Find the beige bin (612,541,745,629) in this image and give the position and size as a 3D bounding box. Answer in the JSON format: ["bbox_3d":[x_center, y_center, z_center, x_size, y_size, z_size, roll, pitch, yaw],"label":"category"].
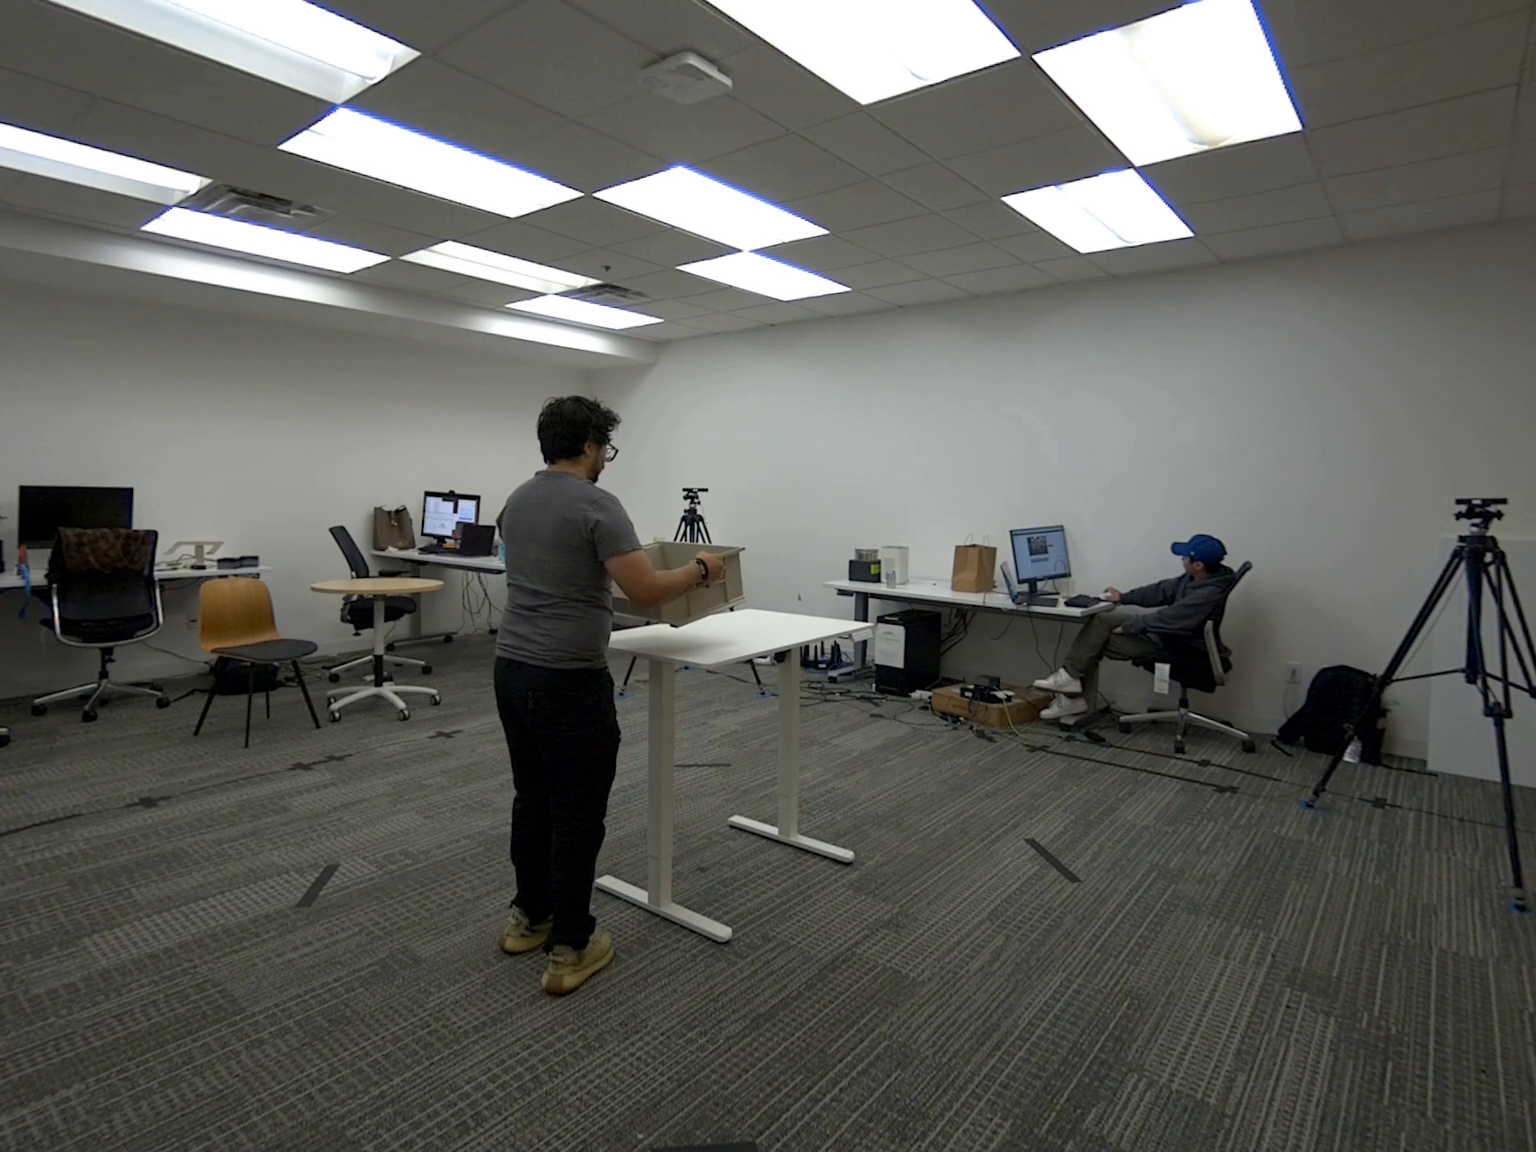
[{"bbox_3d":[-0.353,0.018,2.775,0.437,0.187,0.368,5,15,44],"label":"beige bin"}]
